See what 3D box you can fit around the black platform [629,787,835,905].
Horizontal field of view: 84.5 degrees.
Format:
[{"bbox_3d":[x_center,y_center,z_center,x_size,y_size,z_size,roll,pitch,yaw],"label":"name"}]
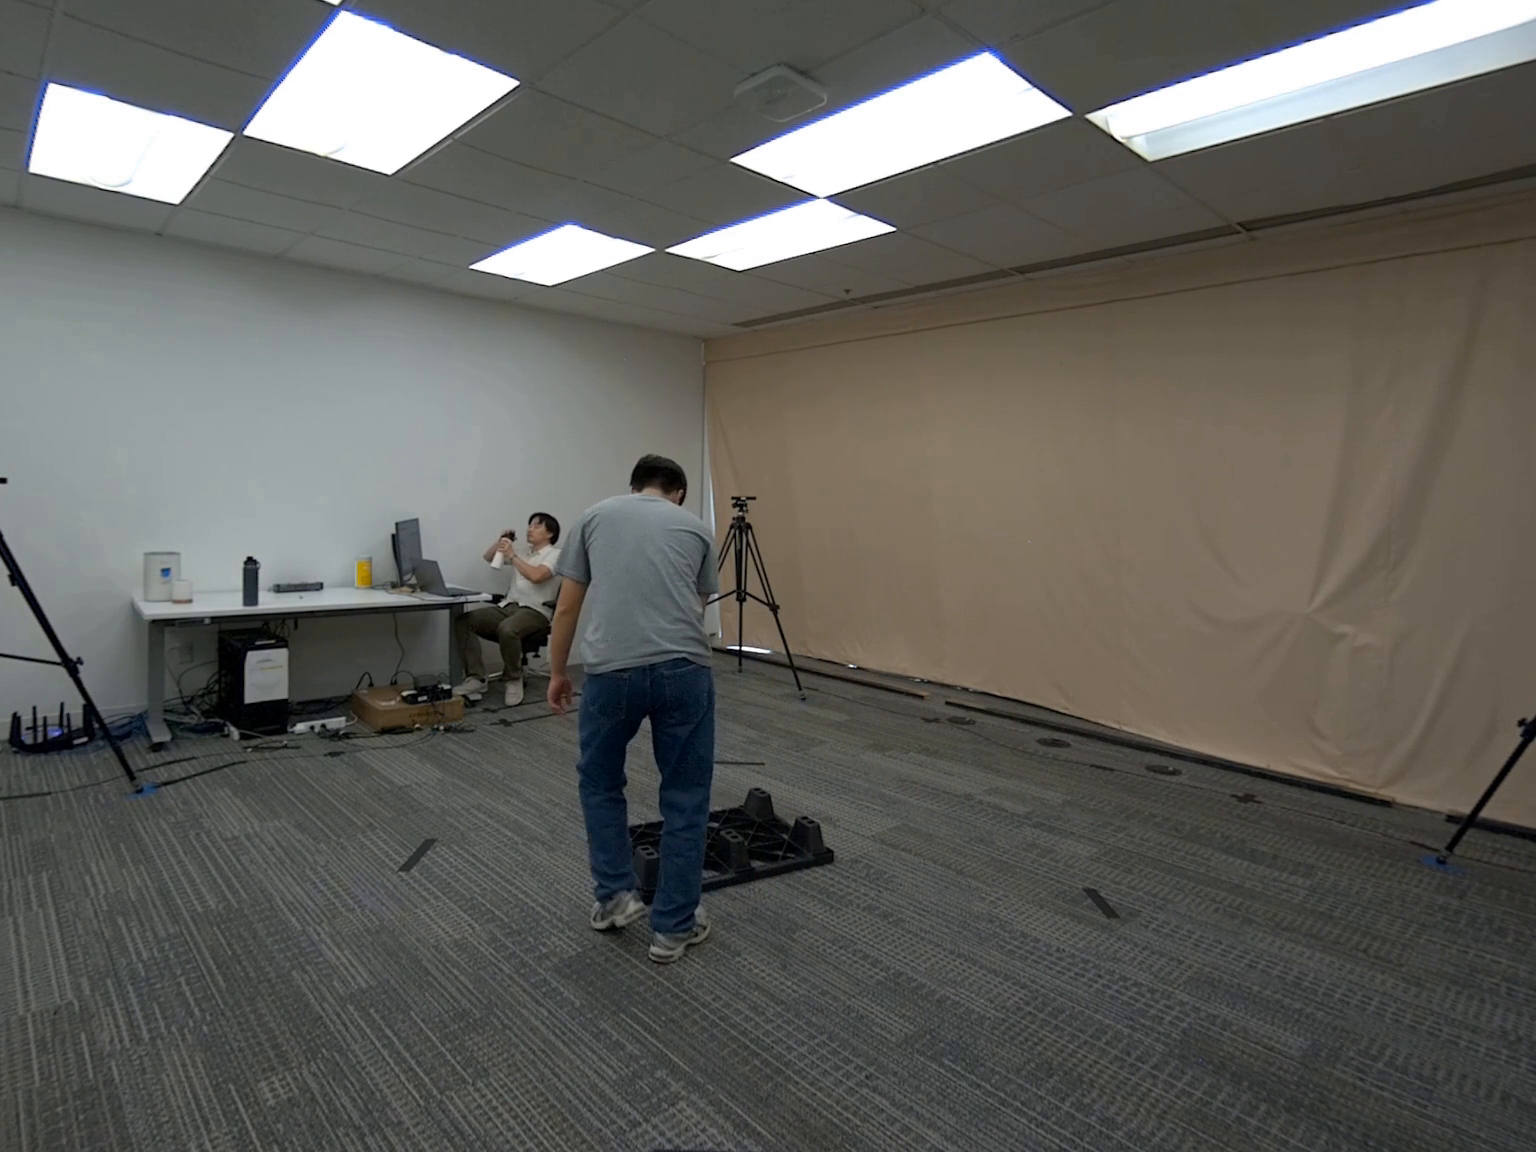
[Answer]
[{"bbox_3d":[-0.238,1.020,3.300,0.789,0.143,0.619,-2,6,-31],"label":"black platform"}]
